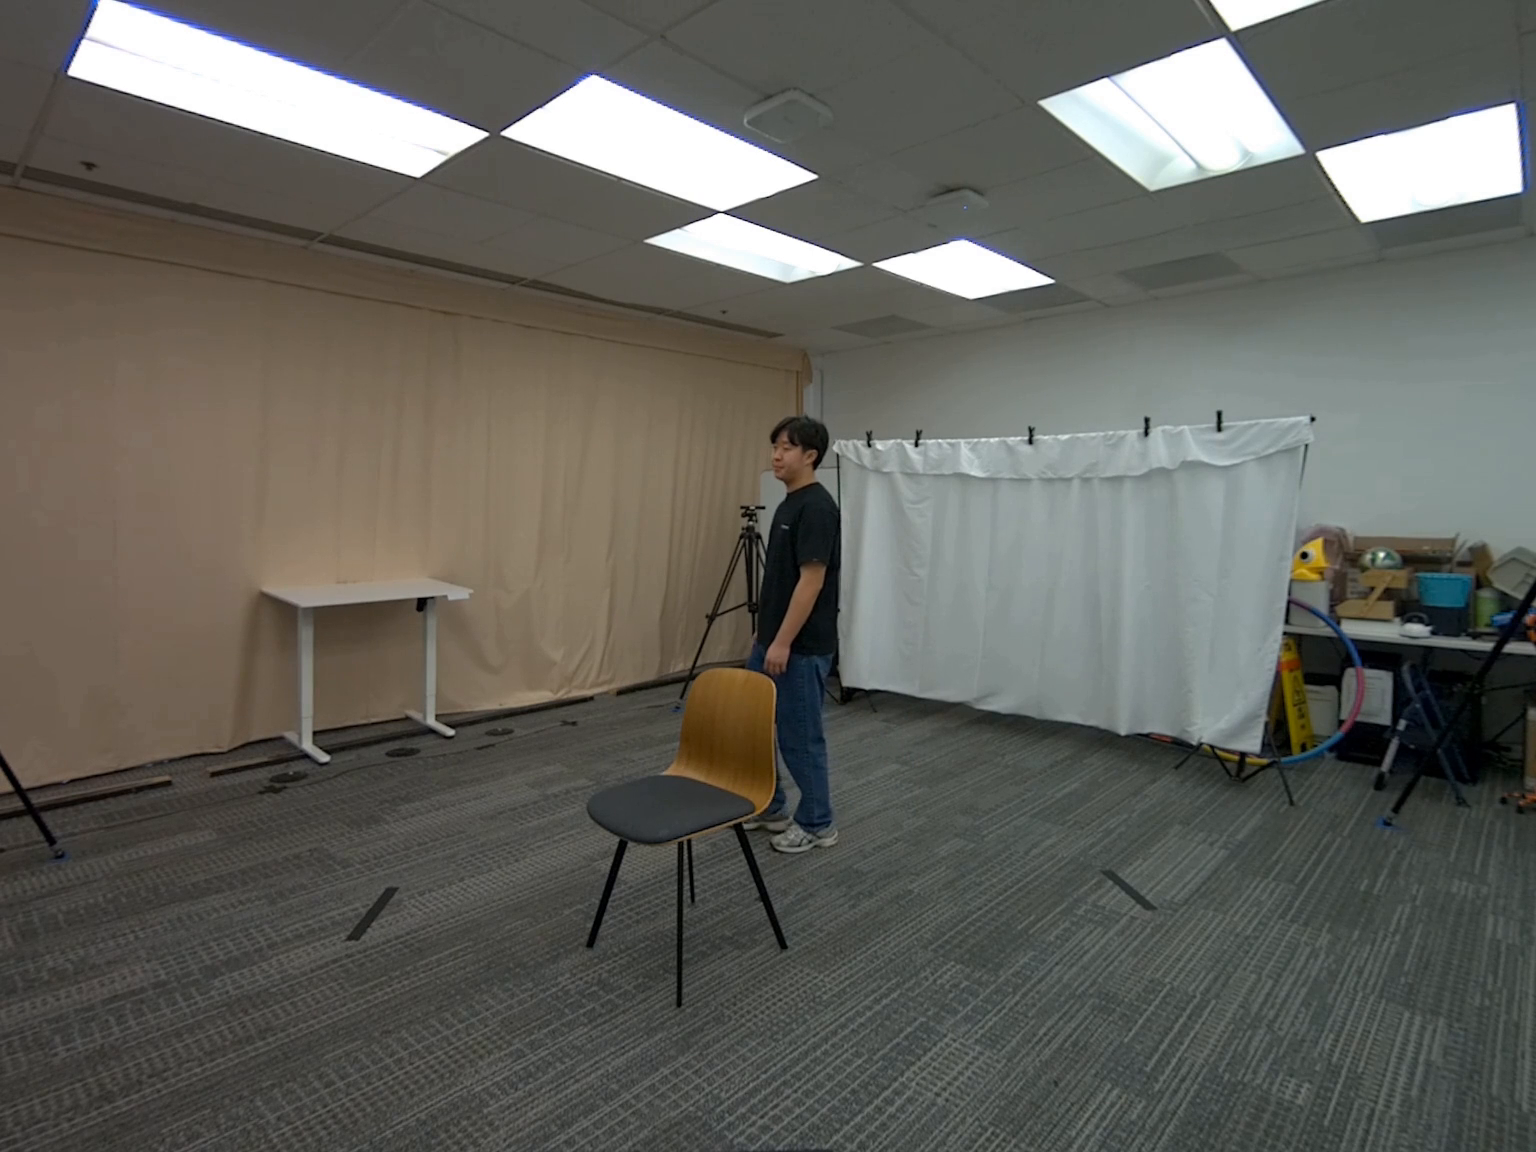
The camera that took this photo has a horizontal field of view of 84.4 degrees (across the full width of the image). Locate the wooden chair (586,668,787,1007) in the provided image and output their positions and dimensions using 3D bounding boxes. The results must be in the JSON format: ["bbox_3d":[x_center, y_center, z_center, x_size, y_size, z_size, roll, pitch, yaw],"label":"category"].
[{"bbox_3d":[-0.260,0.748,2.621,0.506,0.877,0.494,3,1,-45],"label":"wooden chair"}]
